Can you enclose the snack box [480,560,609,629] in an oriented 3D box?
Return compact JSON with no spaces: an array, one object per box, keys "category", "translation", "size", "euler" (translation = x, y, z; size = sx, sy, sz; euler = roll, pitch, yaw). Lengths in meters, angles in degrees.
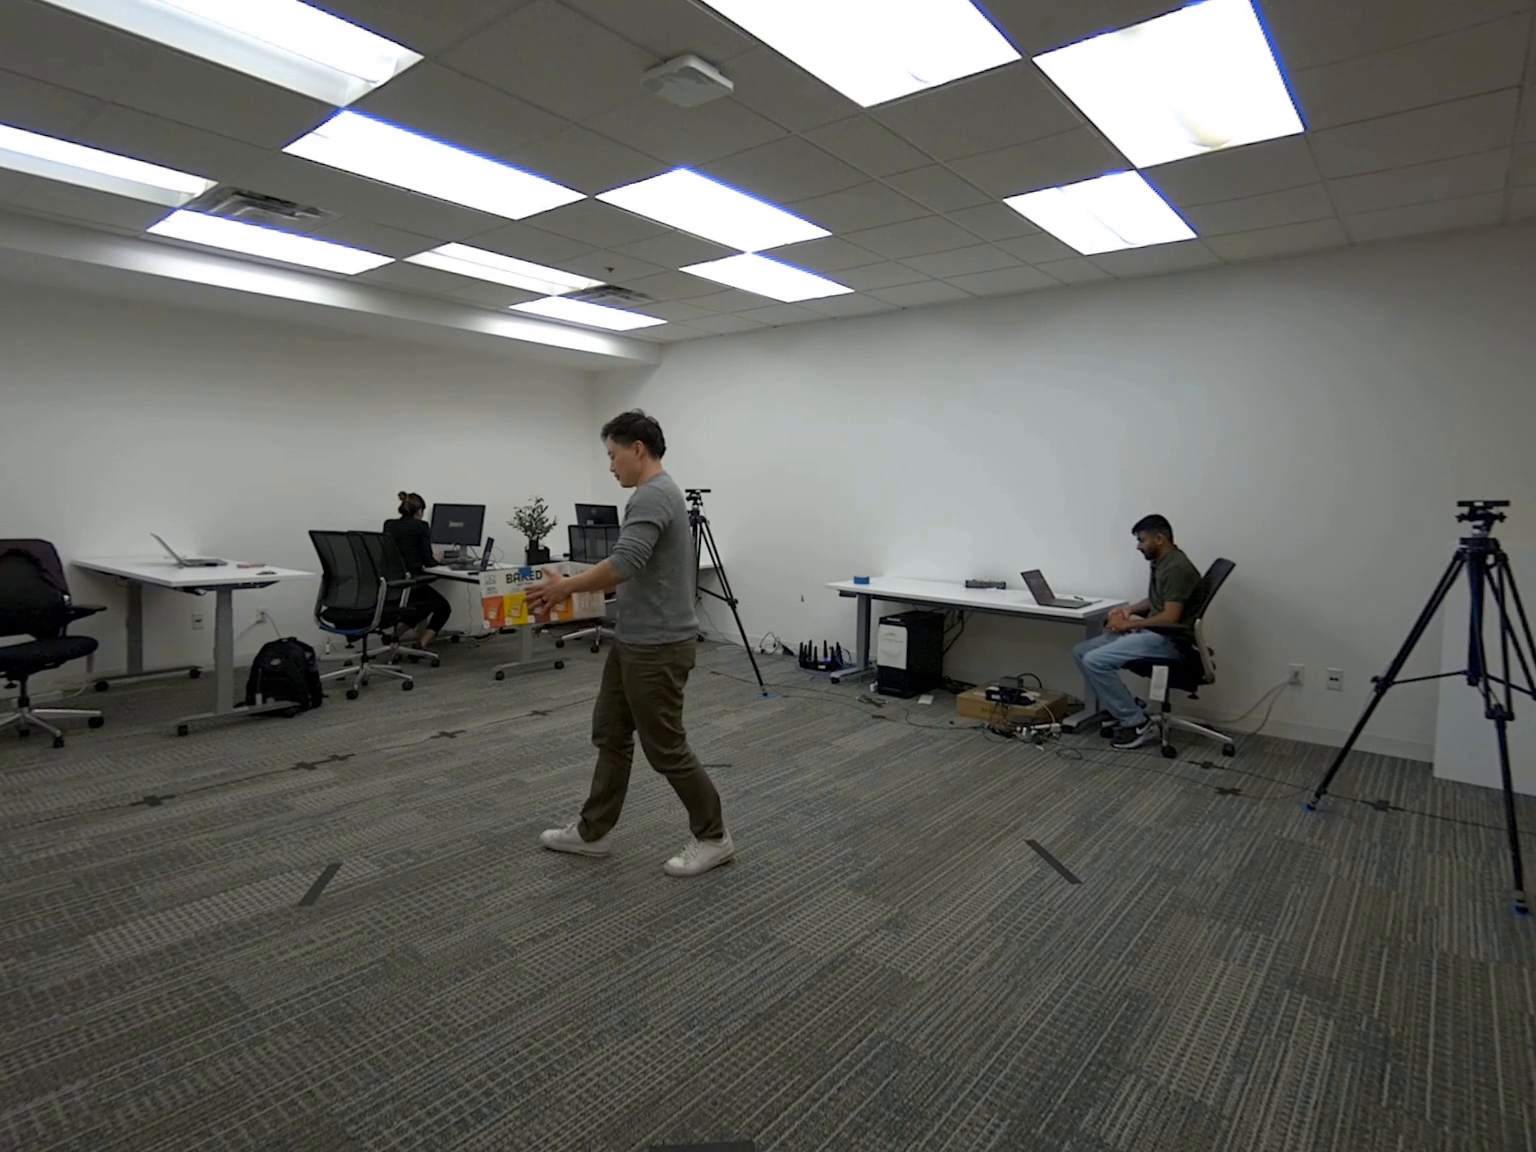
[{"category":"snack box","translation":[-0.838,0.069,3.195],"size":[0.343,0.206,0.401],"euler":[-7,-2,6]}]
